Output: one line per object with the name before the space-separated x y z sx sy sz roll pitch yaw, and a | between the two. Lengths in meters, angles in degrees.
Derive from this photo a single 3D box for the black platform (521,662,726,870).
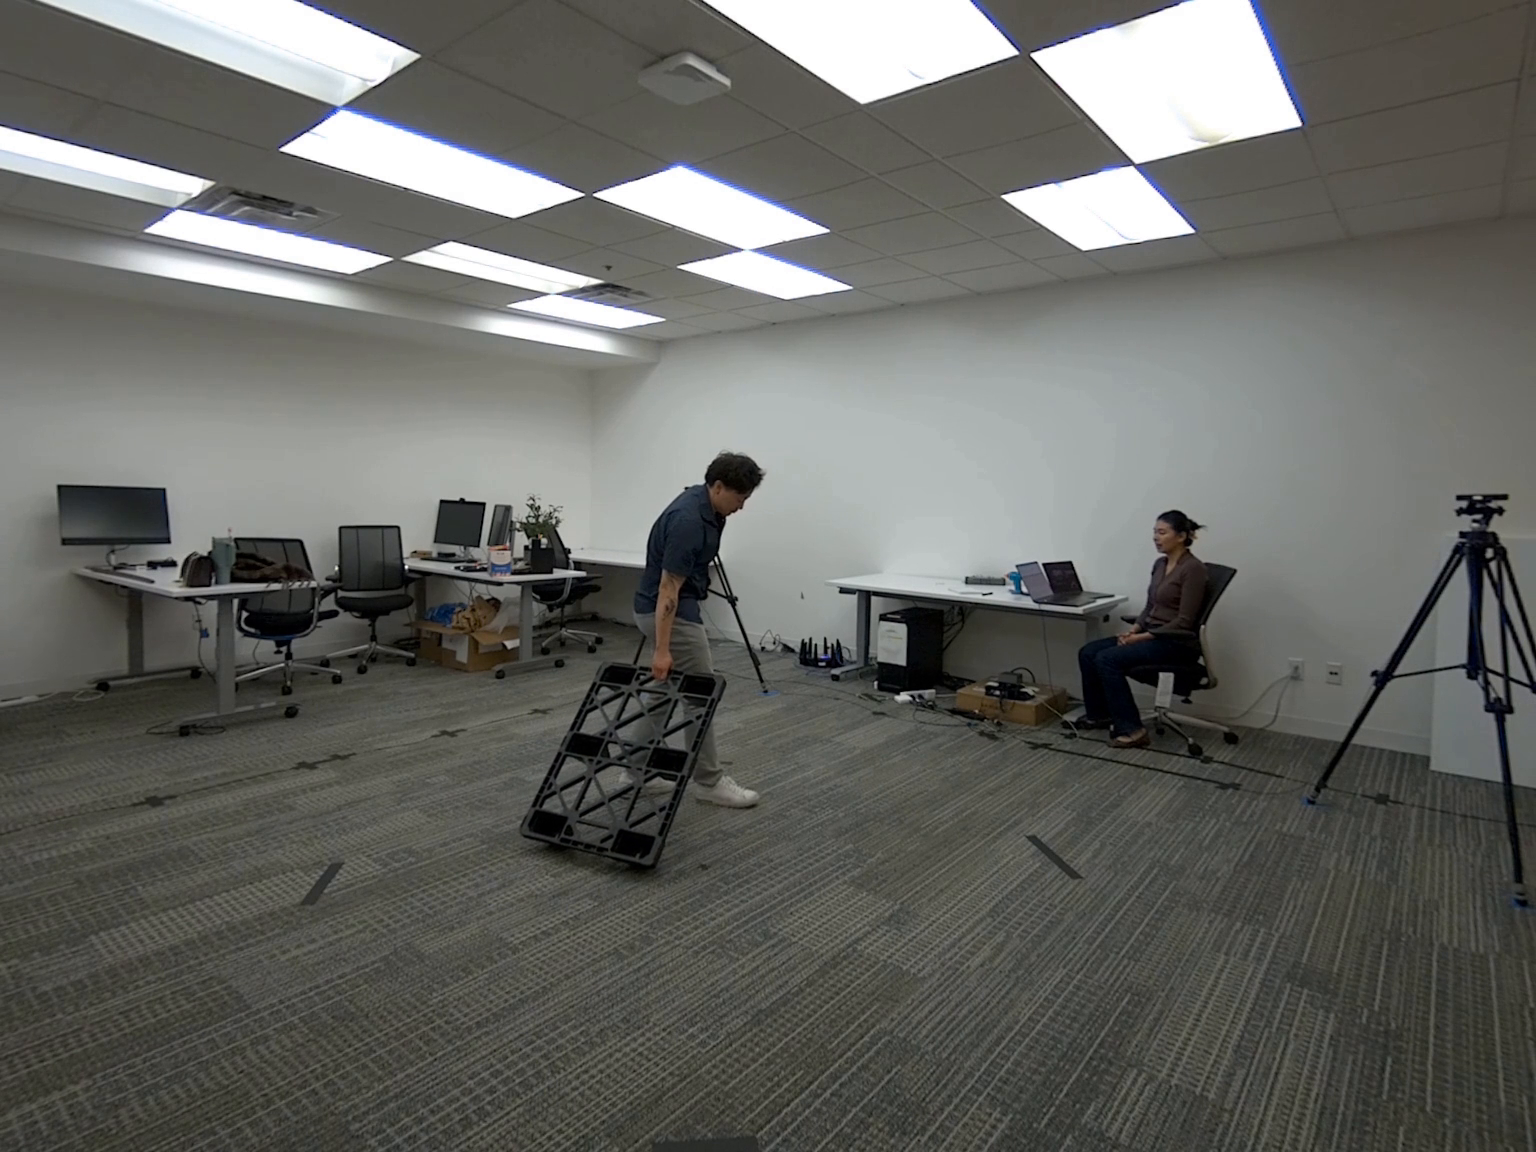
black platform | -0.559 0.733 3.380 0.621 0.817 0.138 2 -40 25
